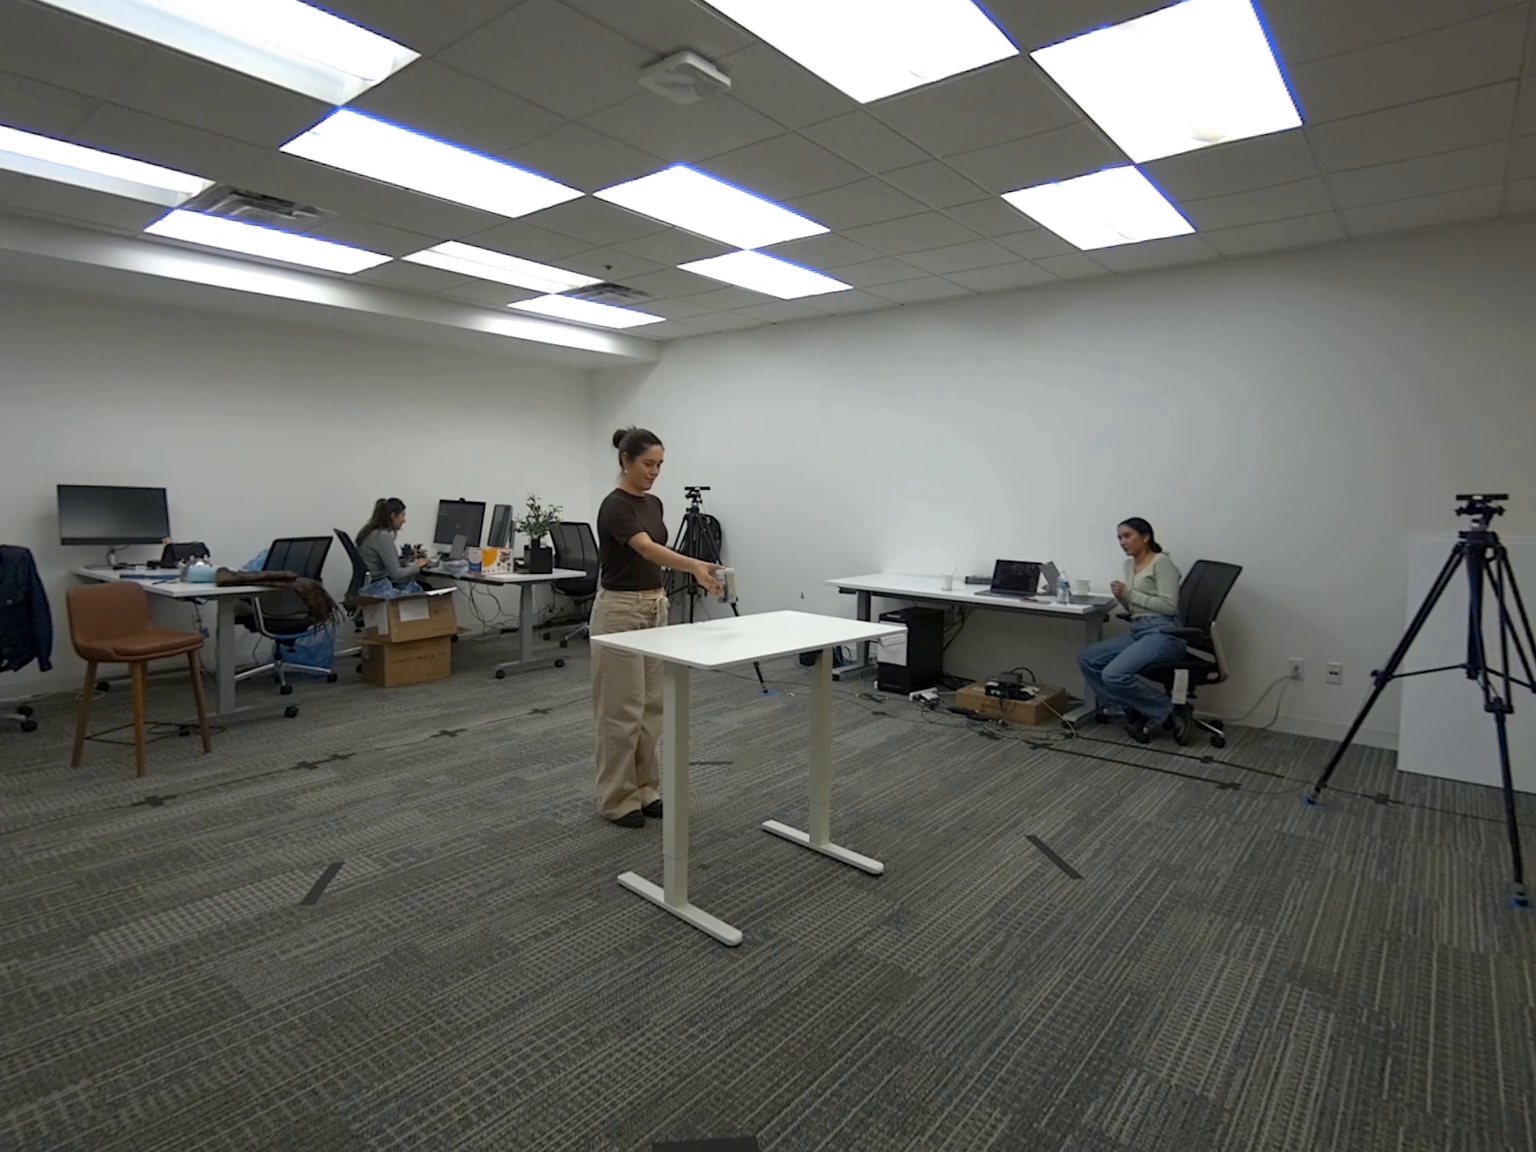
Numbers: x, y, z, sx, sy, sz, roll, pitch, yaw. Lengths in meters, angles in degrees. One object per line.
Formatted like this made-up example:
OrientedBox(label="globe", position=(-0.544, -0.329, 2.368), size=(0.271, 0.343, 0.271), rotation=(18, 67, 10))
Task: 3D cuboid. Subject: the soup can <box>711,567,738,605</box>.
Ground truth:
OrientedBox(label="soup can", position=(-0.168, 0.031, 3.024), size=(0.067, 0.121, 0.067), rotation=(-5, 2, -2))
